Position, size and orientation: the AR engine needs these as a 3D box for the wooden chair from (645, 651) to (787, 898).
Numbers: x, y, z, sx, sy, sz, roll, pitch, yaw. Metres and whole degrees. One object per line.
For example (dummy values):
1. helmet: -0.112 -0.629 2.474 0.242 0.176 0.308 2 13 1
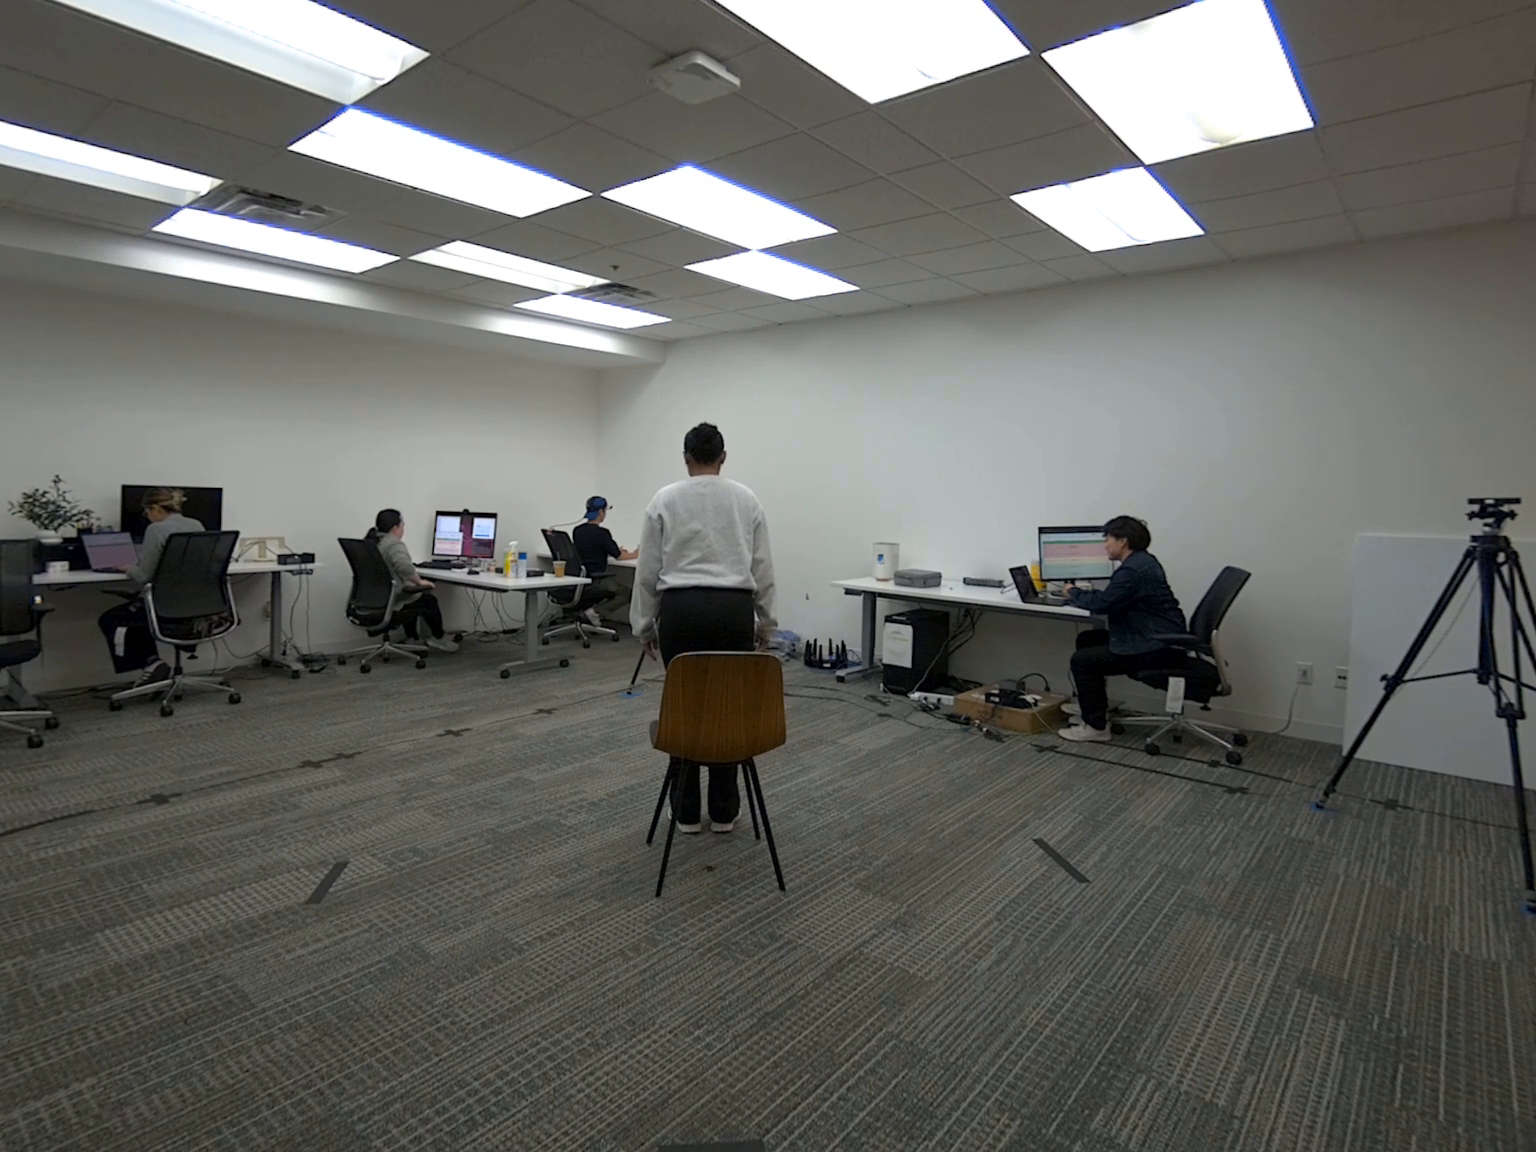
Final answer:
1. wooden chair: -0.208 0.634 3.109 0.473 0.872 0.533 0 7 -11
